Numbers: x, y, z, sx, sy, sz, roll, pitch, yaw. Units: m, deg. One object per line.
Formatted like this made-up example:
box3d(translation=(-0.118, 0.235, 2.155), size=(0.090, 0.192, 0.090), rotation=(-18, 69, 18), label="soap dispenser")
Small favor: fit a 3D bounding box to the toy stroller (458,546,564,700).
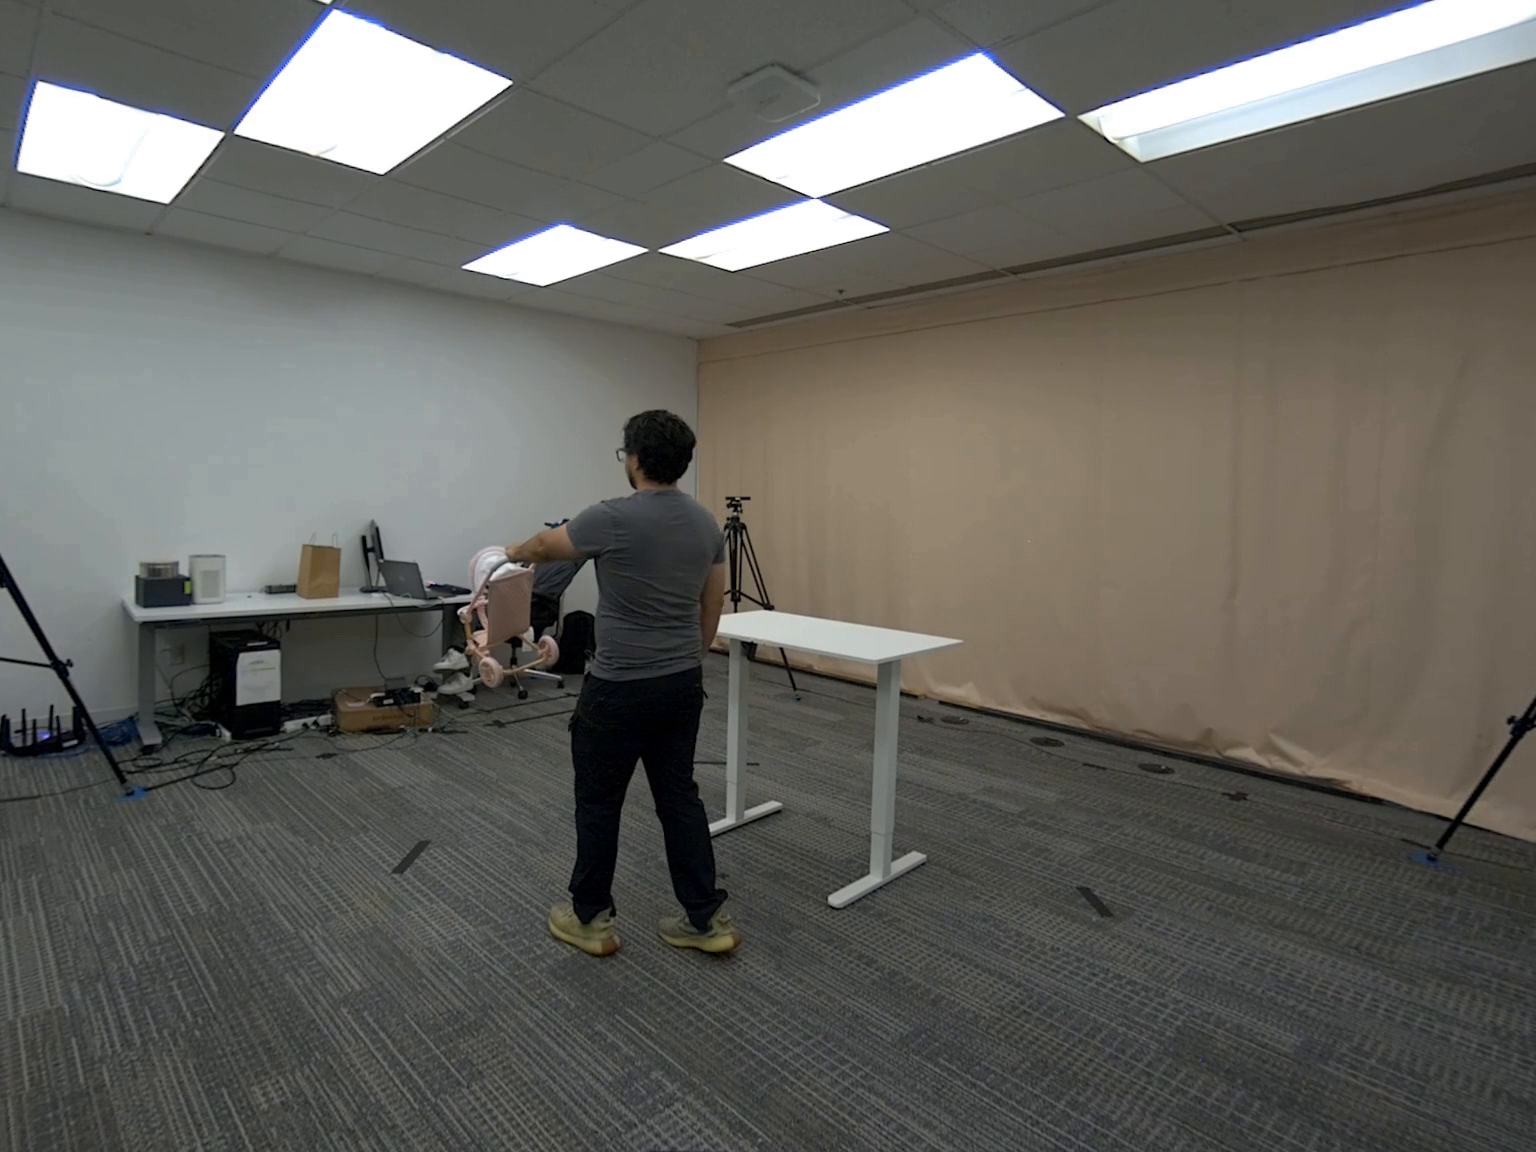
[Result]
box3d(translation=(-0.964, 0.132, 3.022), size=(0.351, 0.528, 0.276), rotation=(18, 23, 41), label="toy stroller")
